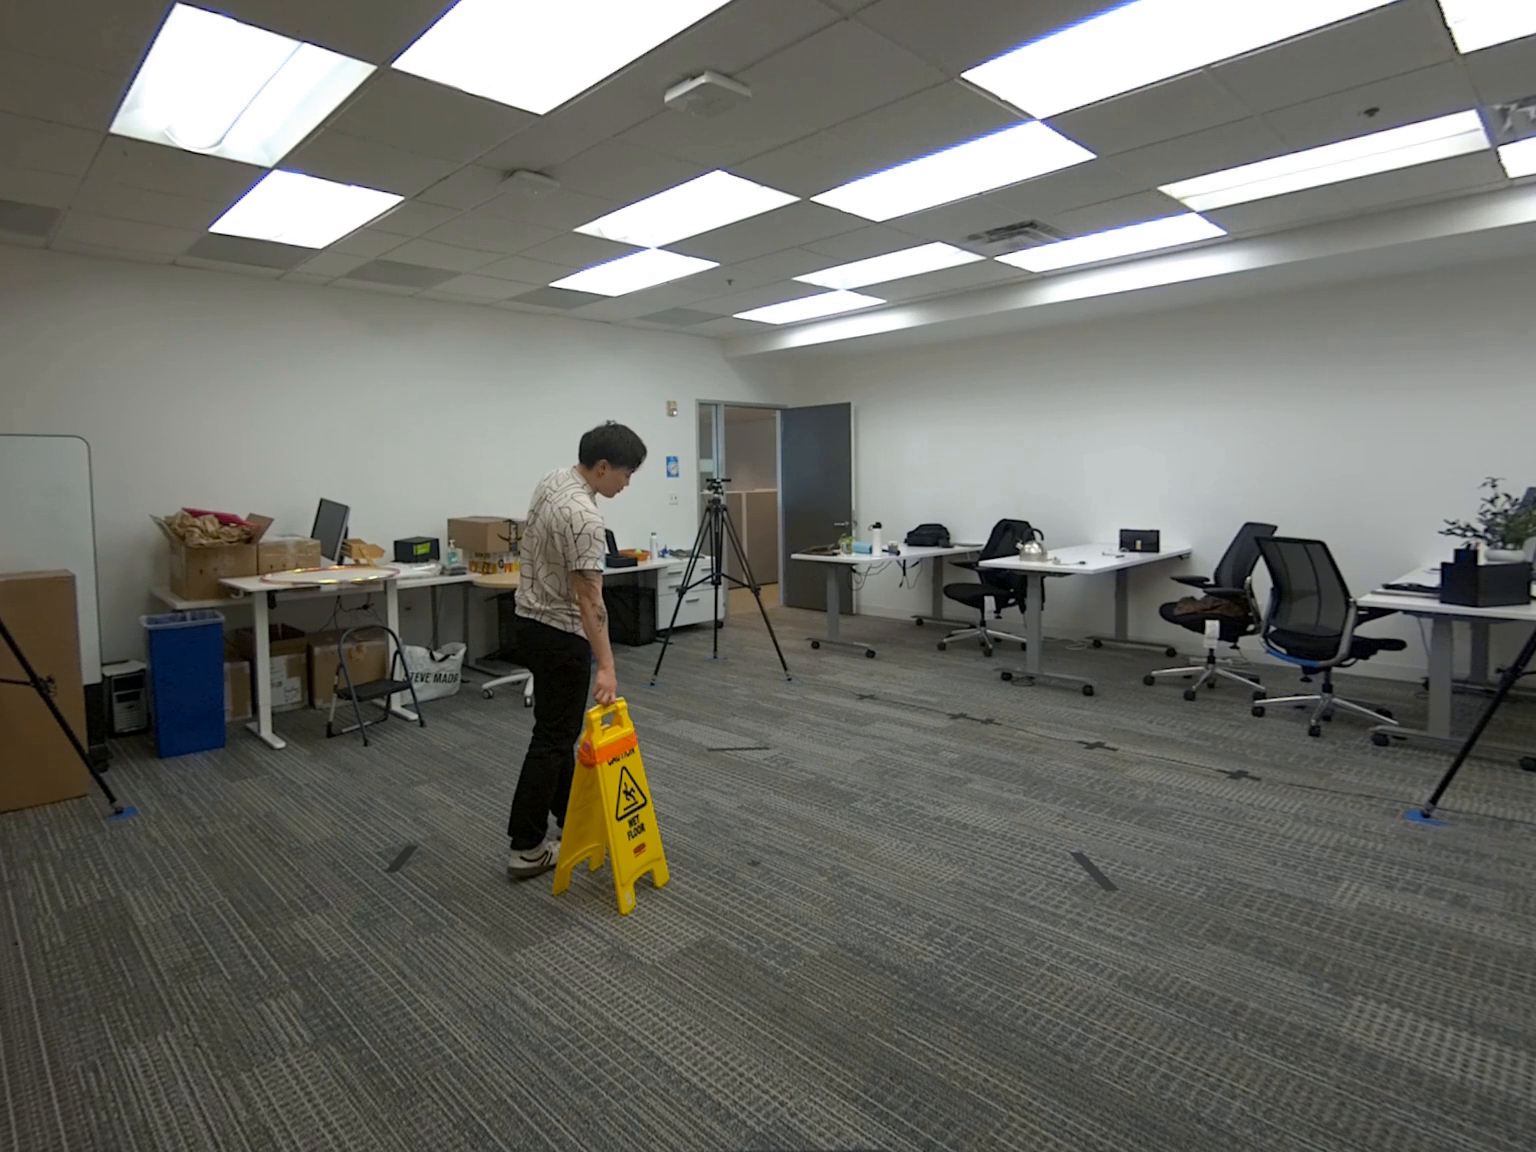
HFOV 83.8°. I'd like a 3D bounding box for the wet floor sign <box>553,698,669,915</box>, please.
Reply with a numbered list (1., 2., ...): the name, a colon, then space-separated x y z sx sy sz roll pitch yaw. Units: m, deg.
1. wet floor sign: -0.538 0.752 2.914 0.297 0.643 0.277 3 6 27
